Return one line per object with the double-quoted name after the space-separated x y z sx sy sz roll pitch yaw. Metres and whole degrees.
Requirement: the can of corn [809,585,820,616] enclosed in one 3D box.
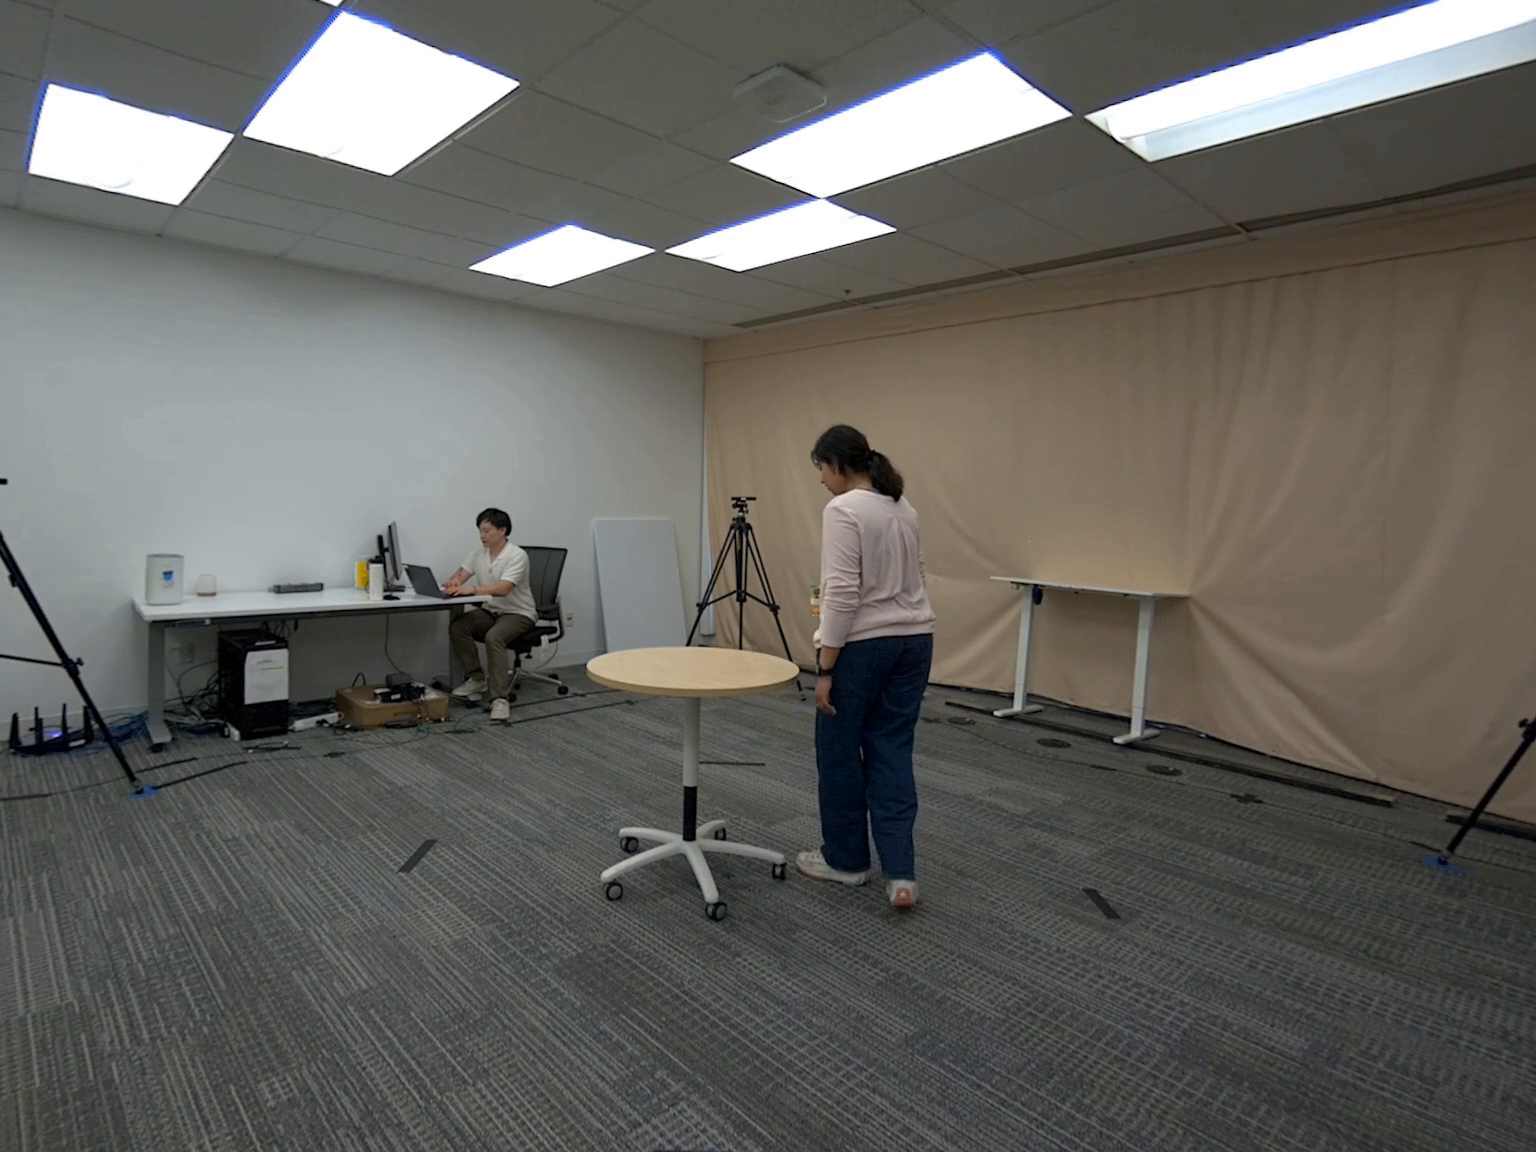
0.210 0.102 3.221 0.074 0.111 0.074 1 3 -1 "can of corn"
